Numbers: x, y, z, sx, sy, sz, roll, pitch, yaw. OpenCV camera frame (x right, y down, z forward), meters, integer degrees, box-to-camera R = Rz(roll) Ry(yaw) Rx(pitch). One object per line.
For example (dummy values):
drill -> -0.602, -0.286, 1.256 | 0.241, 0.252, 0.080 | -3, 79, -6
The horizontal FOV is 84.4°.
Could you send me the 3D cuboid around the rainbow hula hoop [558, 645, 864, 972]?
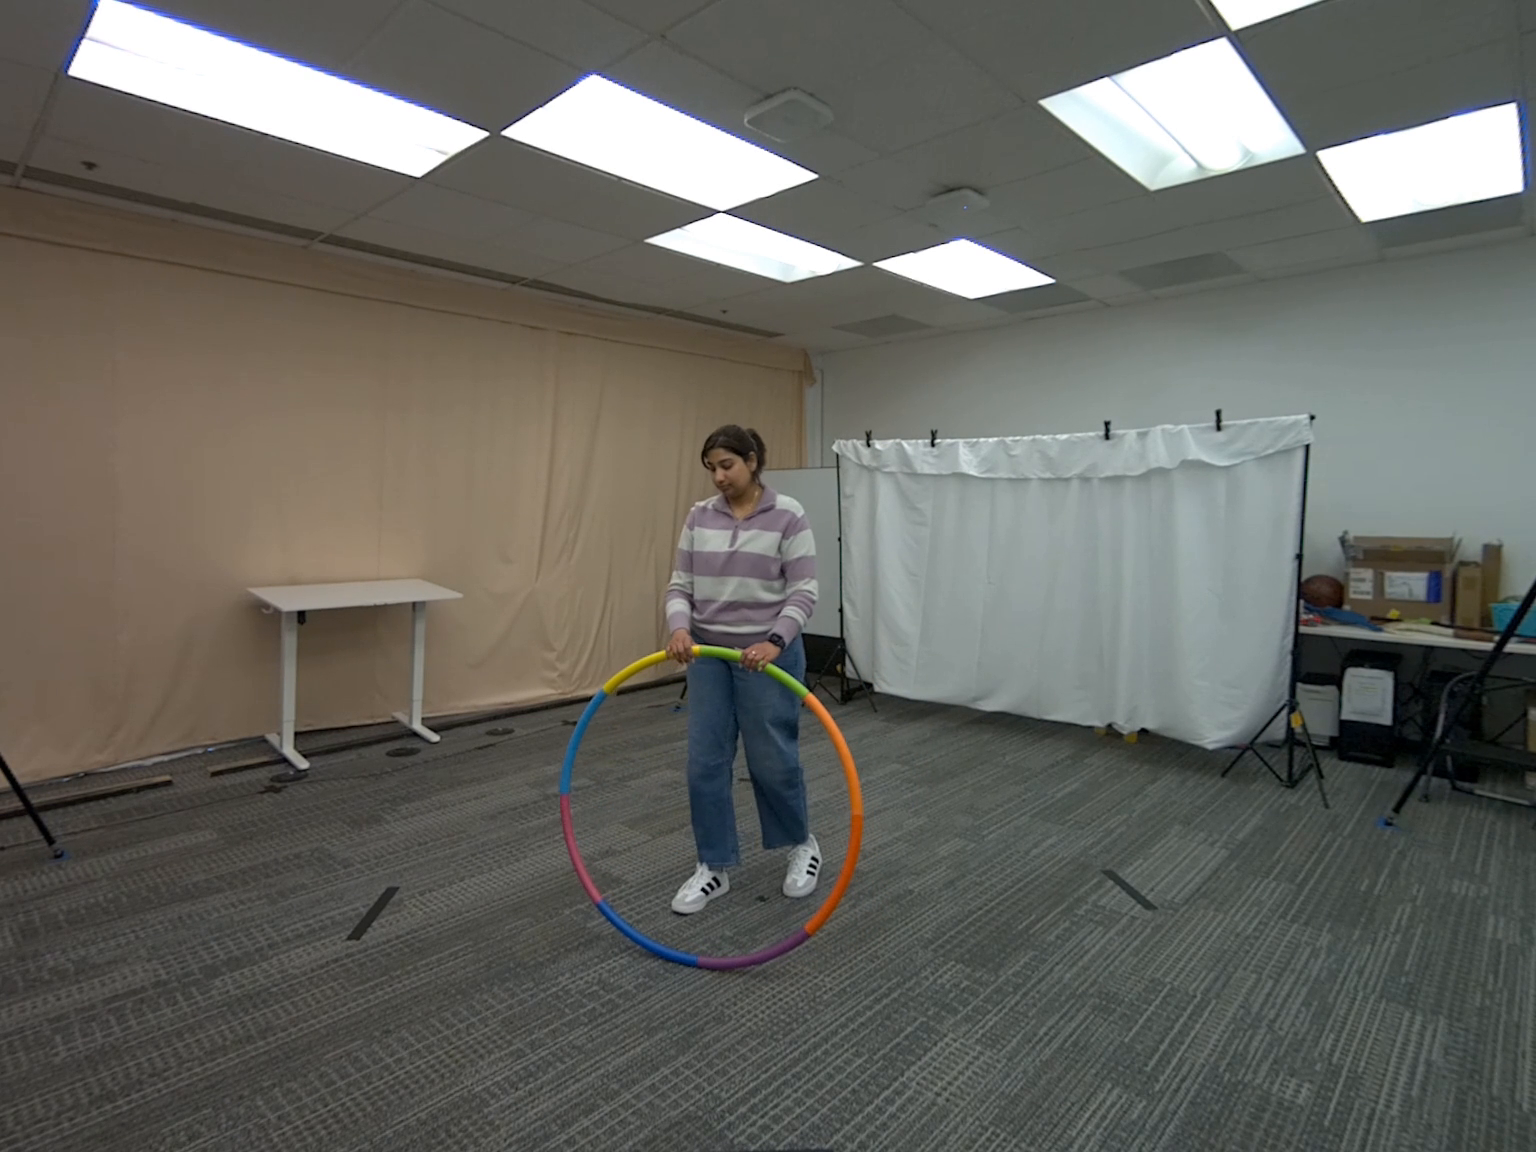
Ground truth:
rainbow hula hoop -> -0.204, 0.702, 2.620 | 0.999, 0.983, 0.034 | 1, -8, 20
